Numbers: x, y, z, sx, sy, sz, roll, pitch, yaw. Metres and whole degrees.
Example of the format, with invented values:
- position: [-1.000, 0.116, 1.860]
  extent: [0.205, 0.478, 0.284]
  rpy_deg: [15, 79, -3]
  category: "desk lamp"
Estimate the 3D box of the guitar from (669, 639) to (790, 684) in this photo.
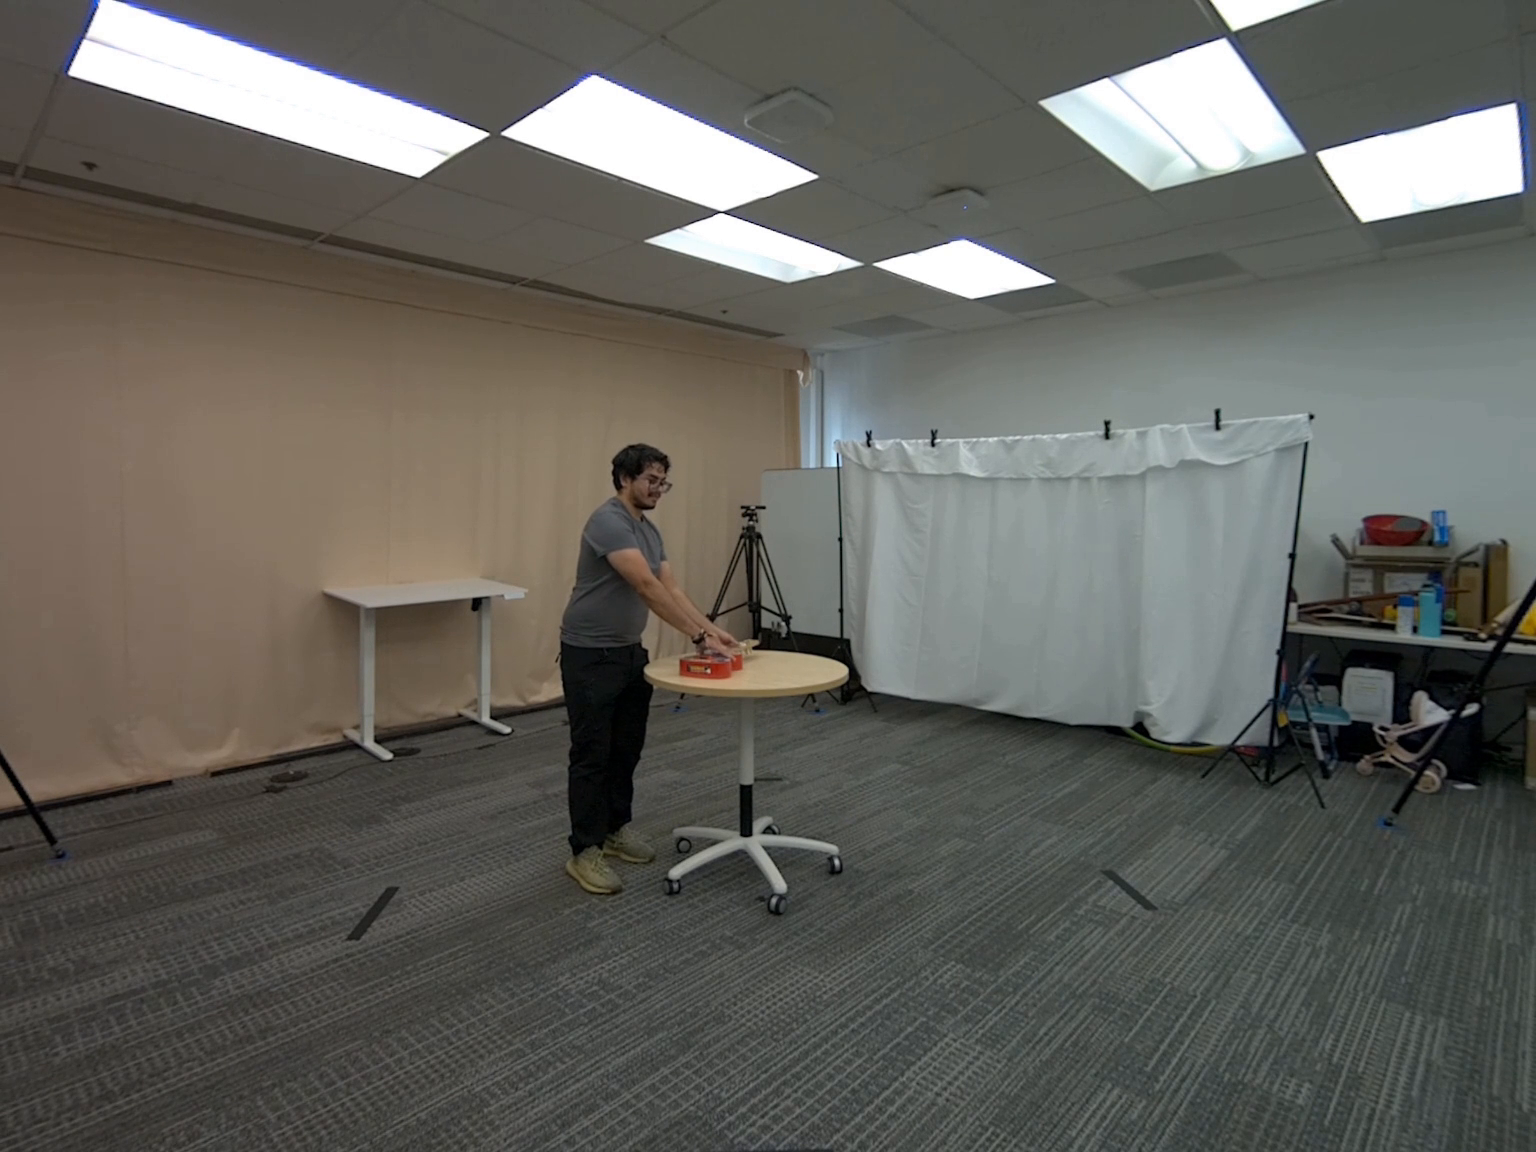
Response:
- position: [-0.135, 0.312, 3.161]
  extent: [0.199, 0.070, 0.484]
  rpy_deg: [1, 5, 34]
  category: "guitar"
